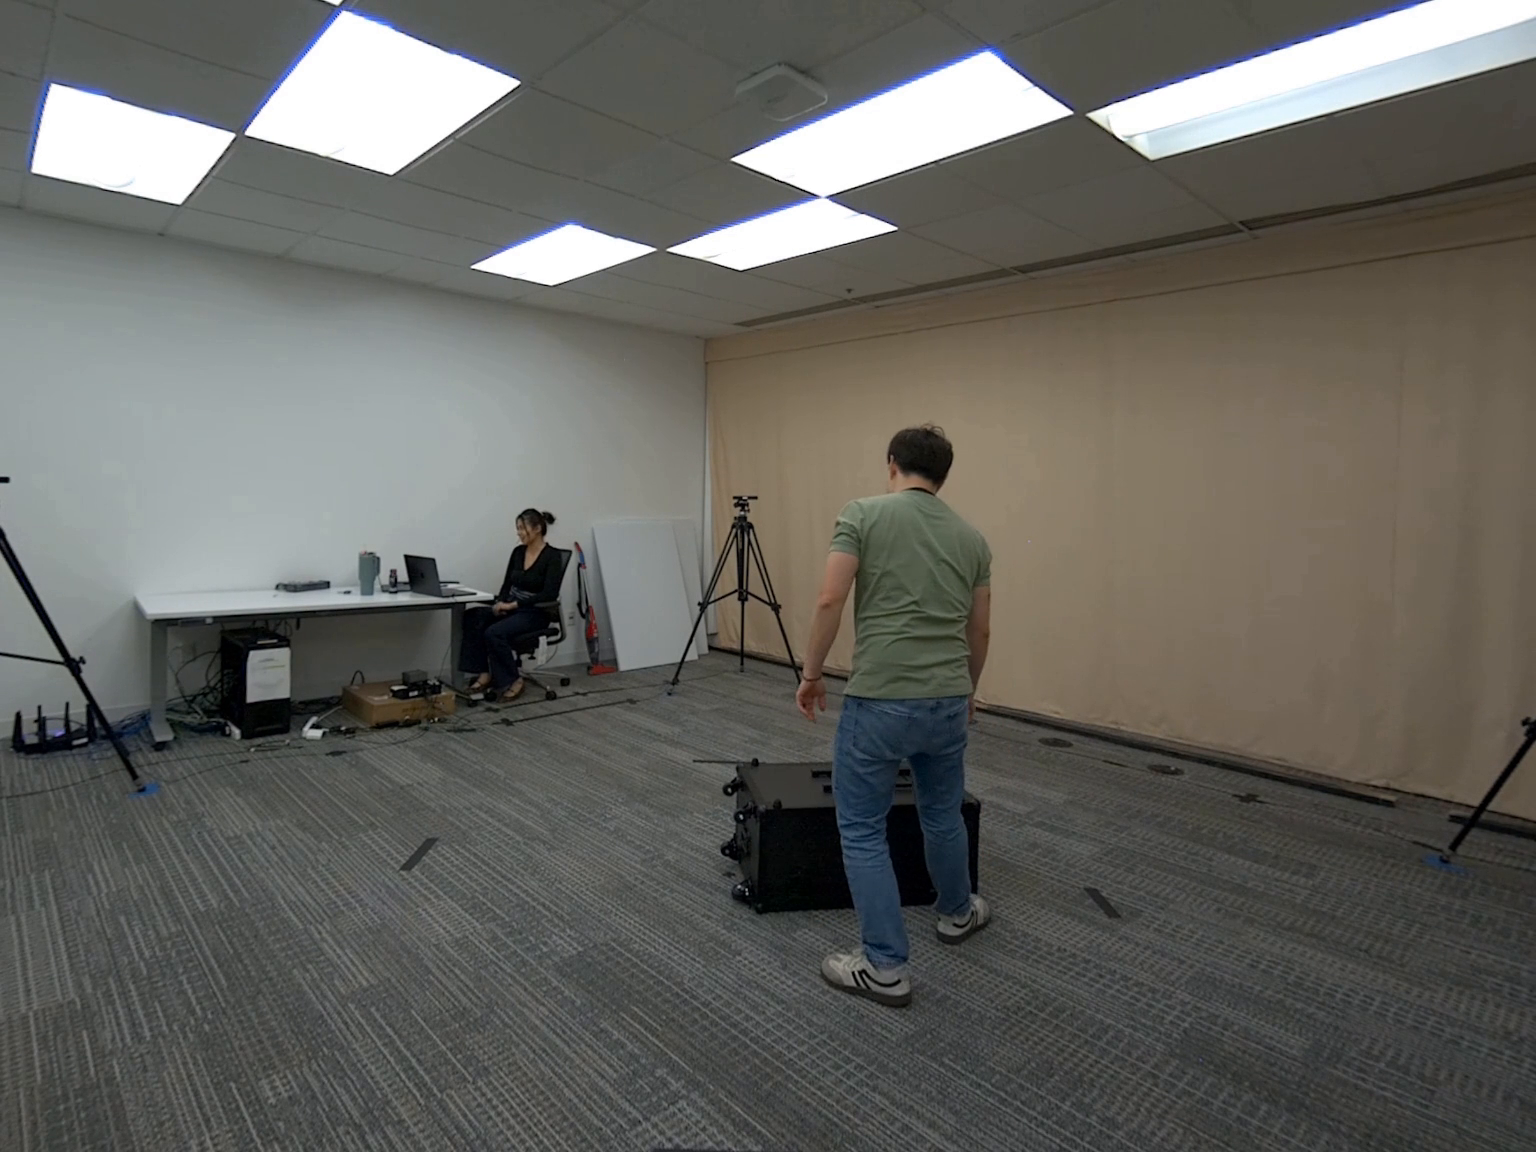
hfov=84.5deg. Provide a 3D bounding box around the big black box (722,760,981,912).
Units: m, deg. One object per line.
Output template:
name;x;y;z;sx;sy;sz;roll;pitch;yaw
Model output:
big black box;0.263;0.918;3.085;0.855;0.395;0.527;0;5;-10
